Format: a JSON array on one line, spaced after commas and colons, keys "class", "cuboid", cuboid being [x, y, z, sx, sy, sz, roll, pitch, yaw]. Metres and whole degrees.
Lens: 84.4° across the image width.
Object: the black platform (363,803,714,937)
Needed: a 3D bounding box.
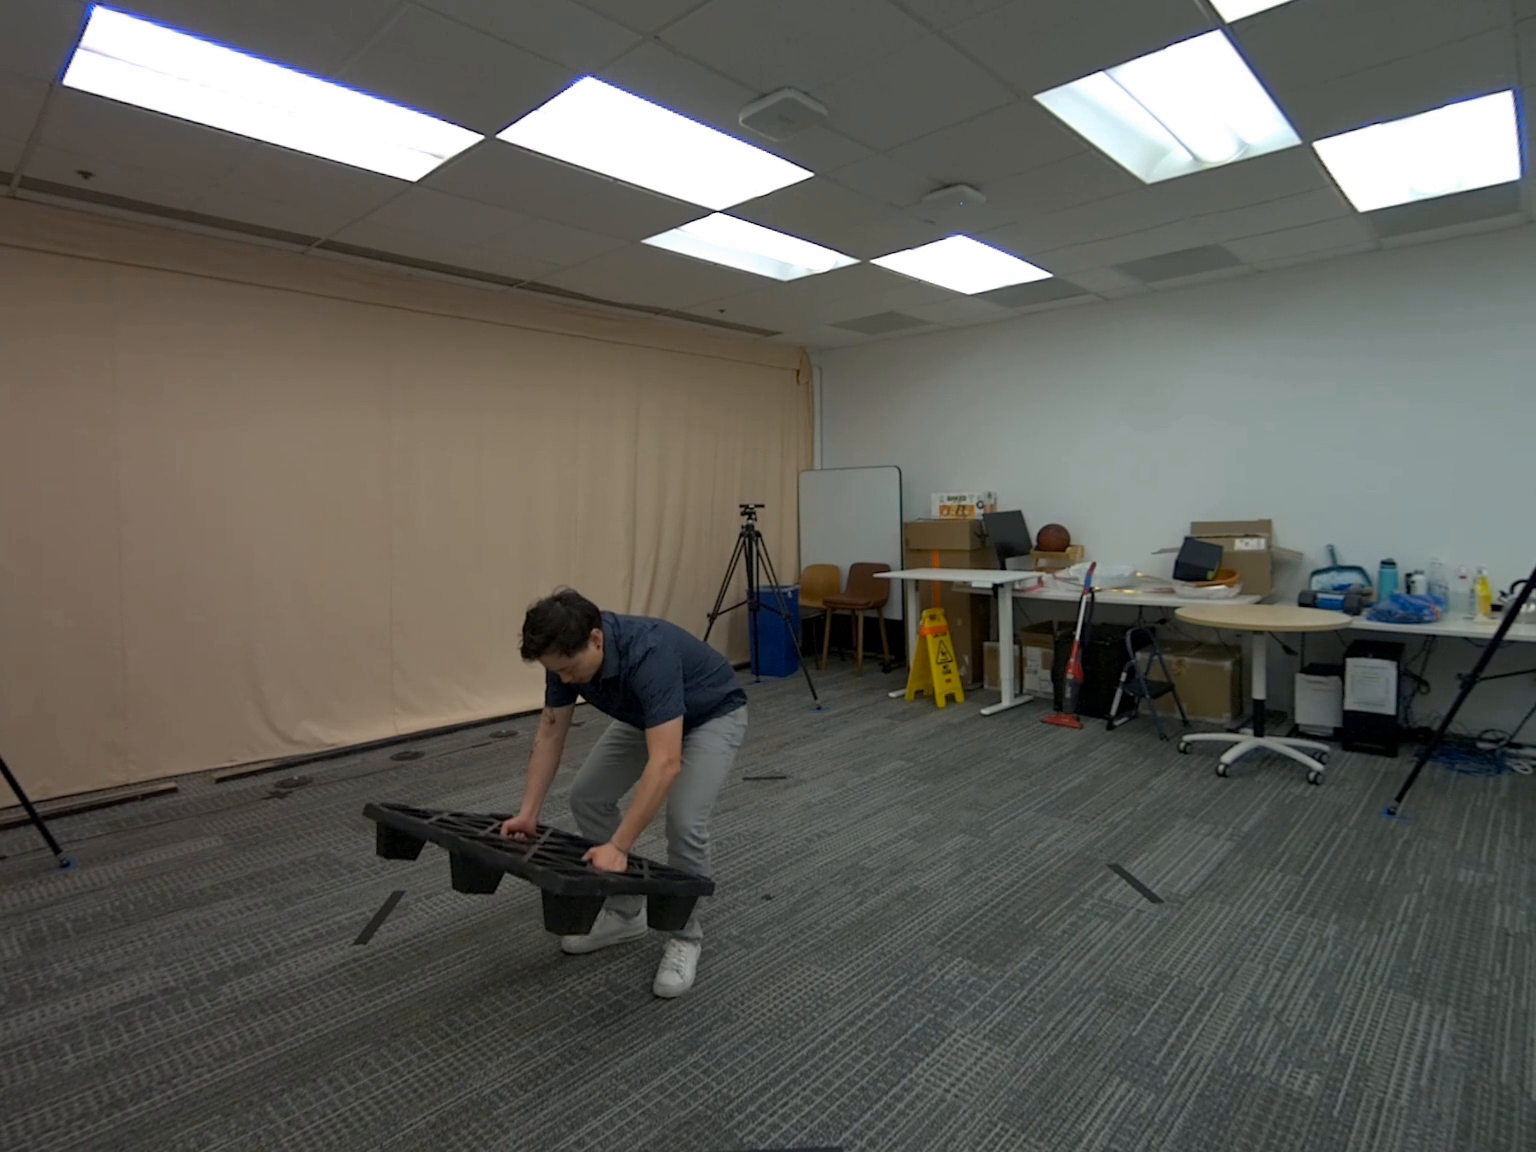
[{"class": "black platform", "cuboid": [-0.635, 0.784, 2.258, 0.831, 0.144, 0.583, 3, -16, 35]}]
